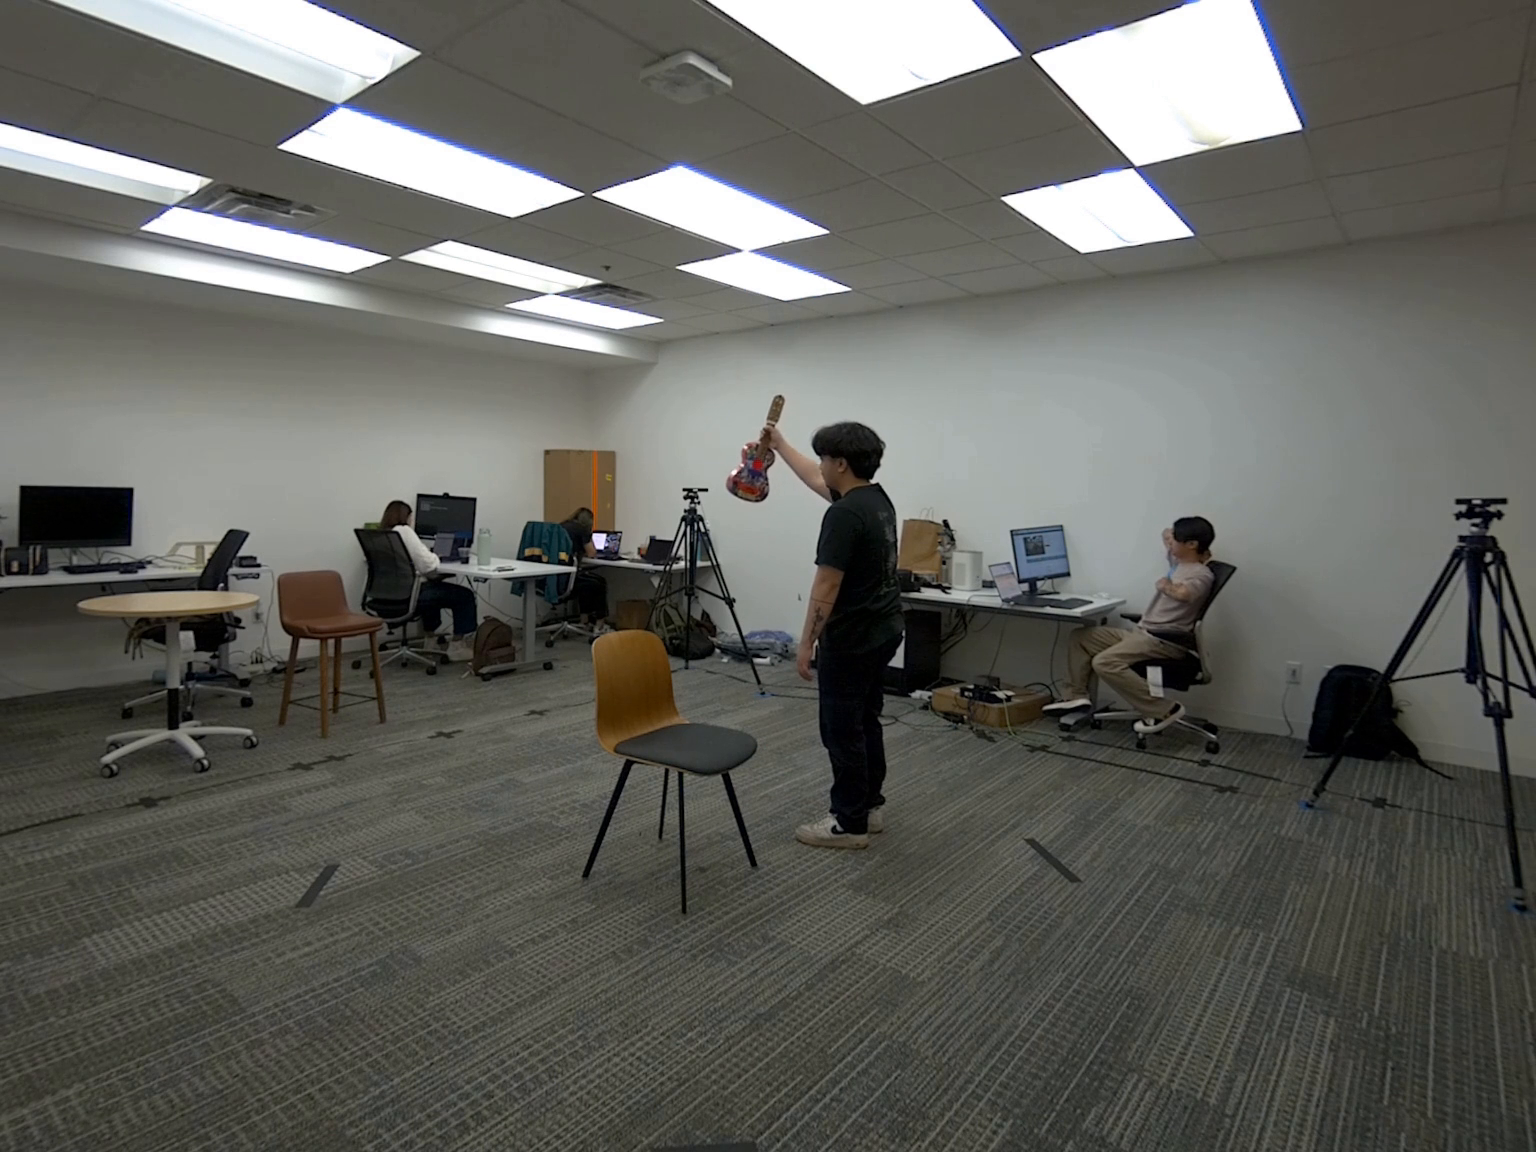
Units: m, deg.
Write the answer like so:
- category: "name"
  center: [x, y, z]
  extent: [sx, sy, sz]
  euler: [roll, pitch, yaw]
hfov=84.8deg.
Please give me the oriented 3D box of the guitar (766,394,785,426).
- category: "guitar"
  center: [-0.012, -0.561, 3.872]
  extent: [0.189, 0.496, 0.072]
  euler: [26, 7, -16]
